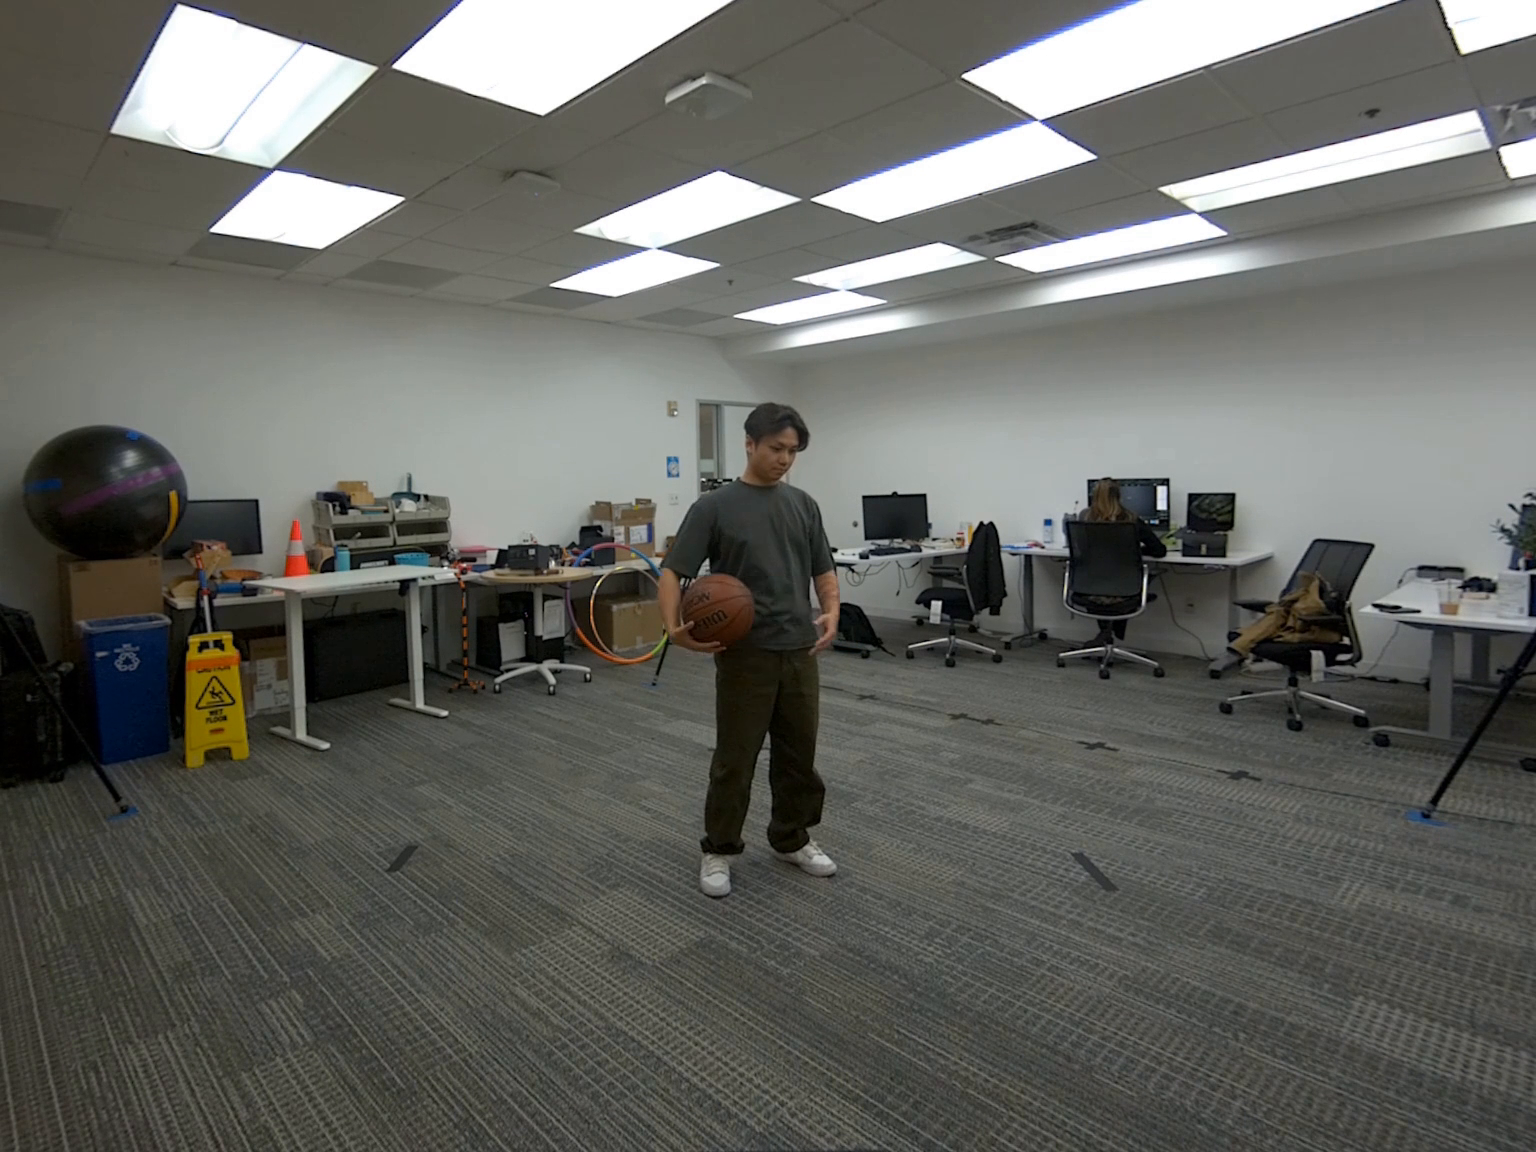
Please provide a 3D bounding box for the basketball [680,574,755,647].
[{"bbox_3d":[-0.158,0.112,2.761,0.236,0.235,0.237,-1,5,-2],"label":"basketball"}]
